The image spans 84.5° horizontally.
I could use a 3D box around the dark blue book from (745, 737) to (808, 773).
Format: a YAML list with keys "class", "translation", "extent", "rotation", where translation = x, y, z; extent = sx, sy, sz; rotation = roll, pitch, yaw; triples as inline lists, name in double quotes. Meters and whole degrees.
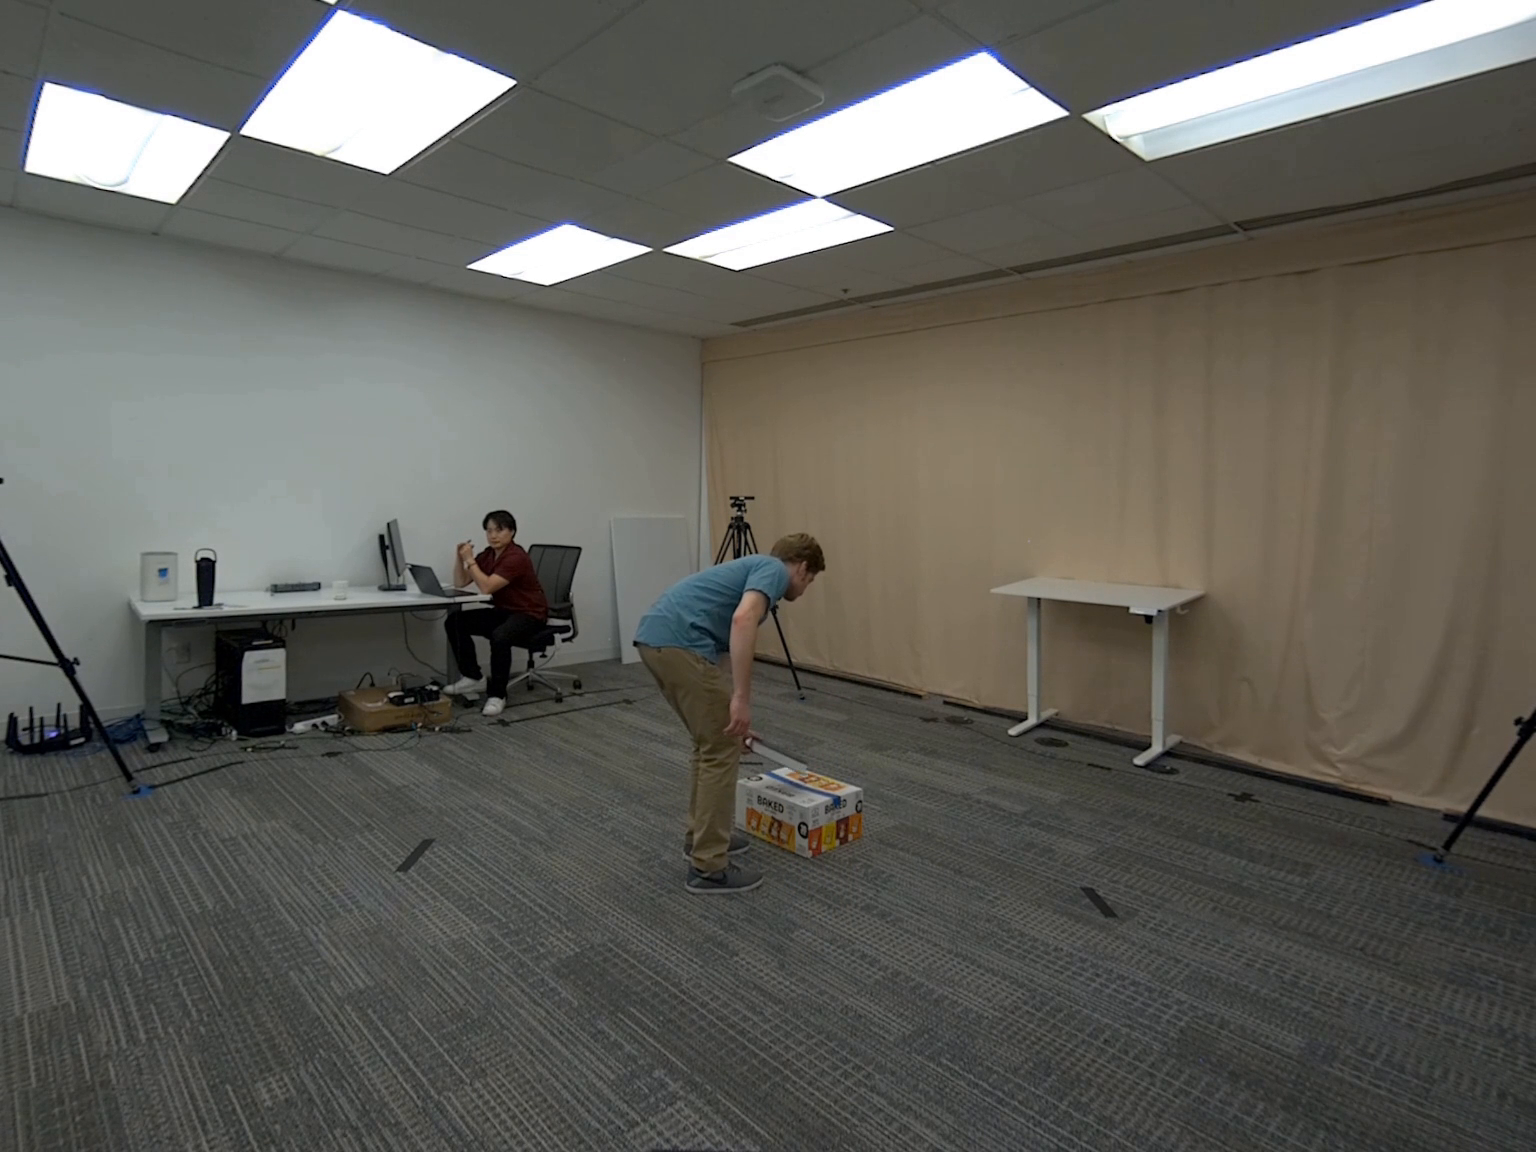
- class: "dark blue book"
  translation: [0.034, 0.726, 3.495]
  extent: [0.243, 0.045, 0.164]
  rotation: [26, -3, -7]
